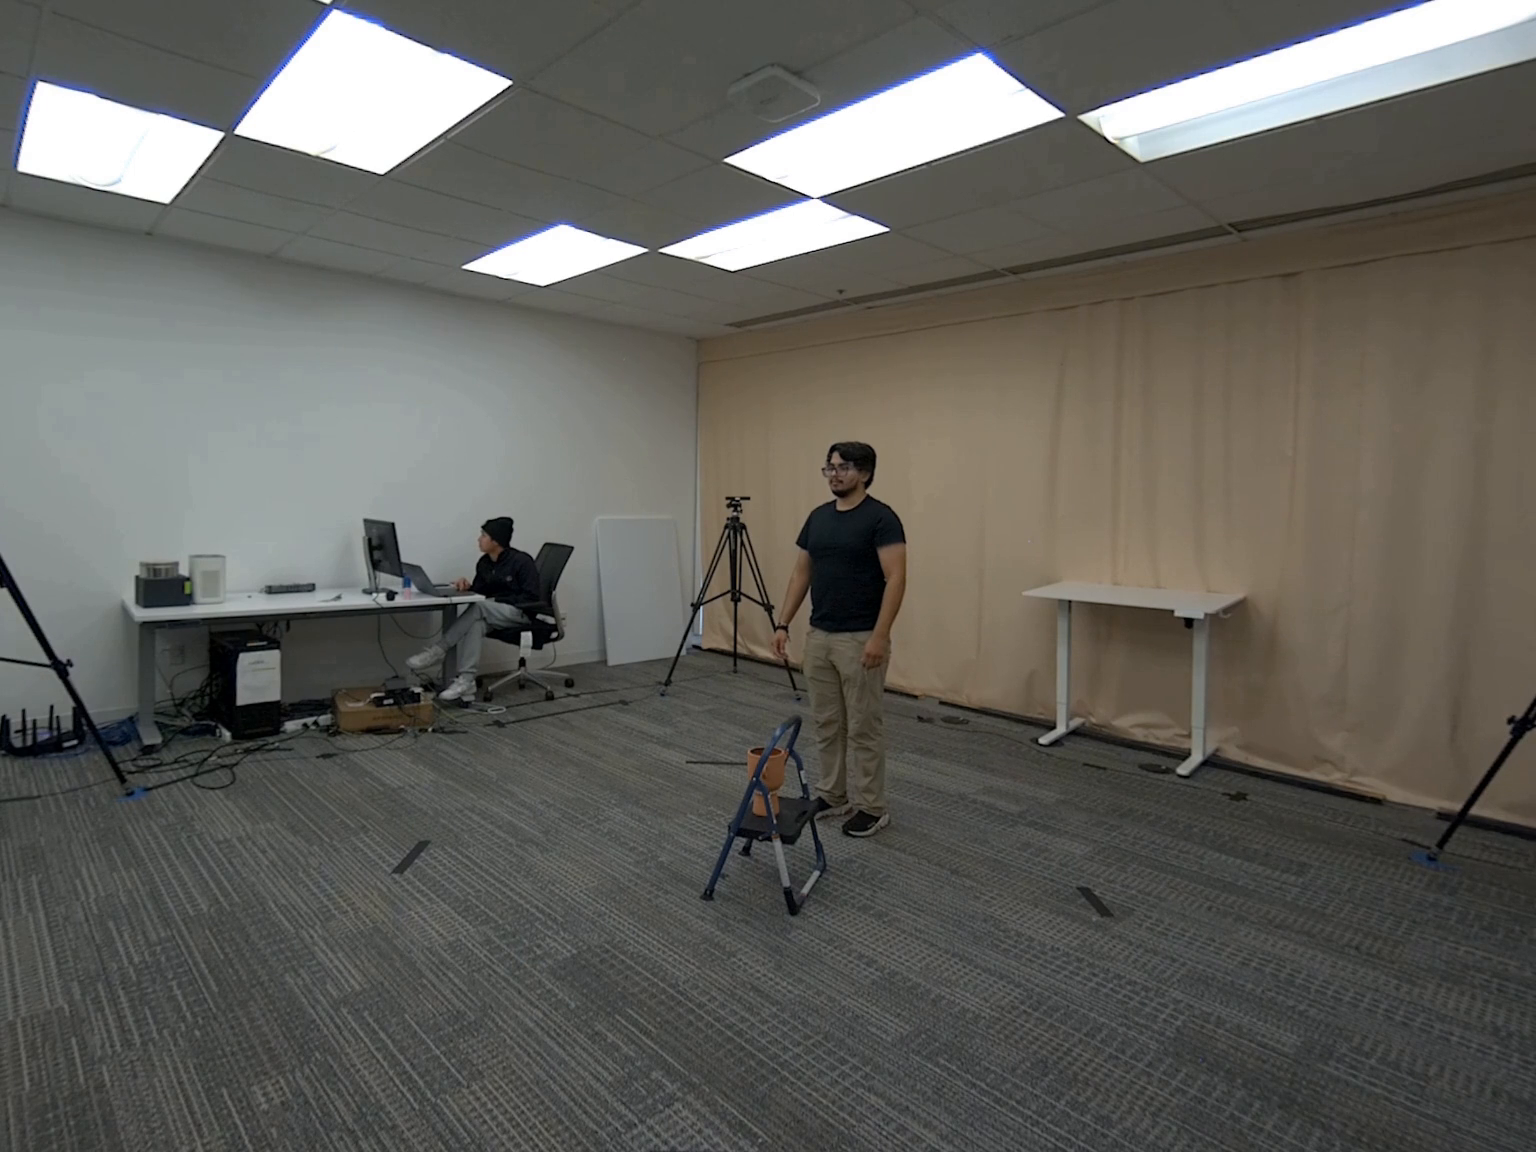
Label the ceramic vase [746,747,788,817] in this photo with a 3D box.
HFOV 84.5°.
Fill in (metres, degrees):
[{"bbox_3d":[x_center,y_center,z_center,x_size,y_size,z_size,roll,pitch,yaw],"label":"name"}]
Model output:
[{"bbox_3d":[-0.017,0.744,3.040,0.138,0.219,0.155,2,4,43],"label":"ceramic vase"}]
